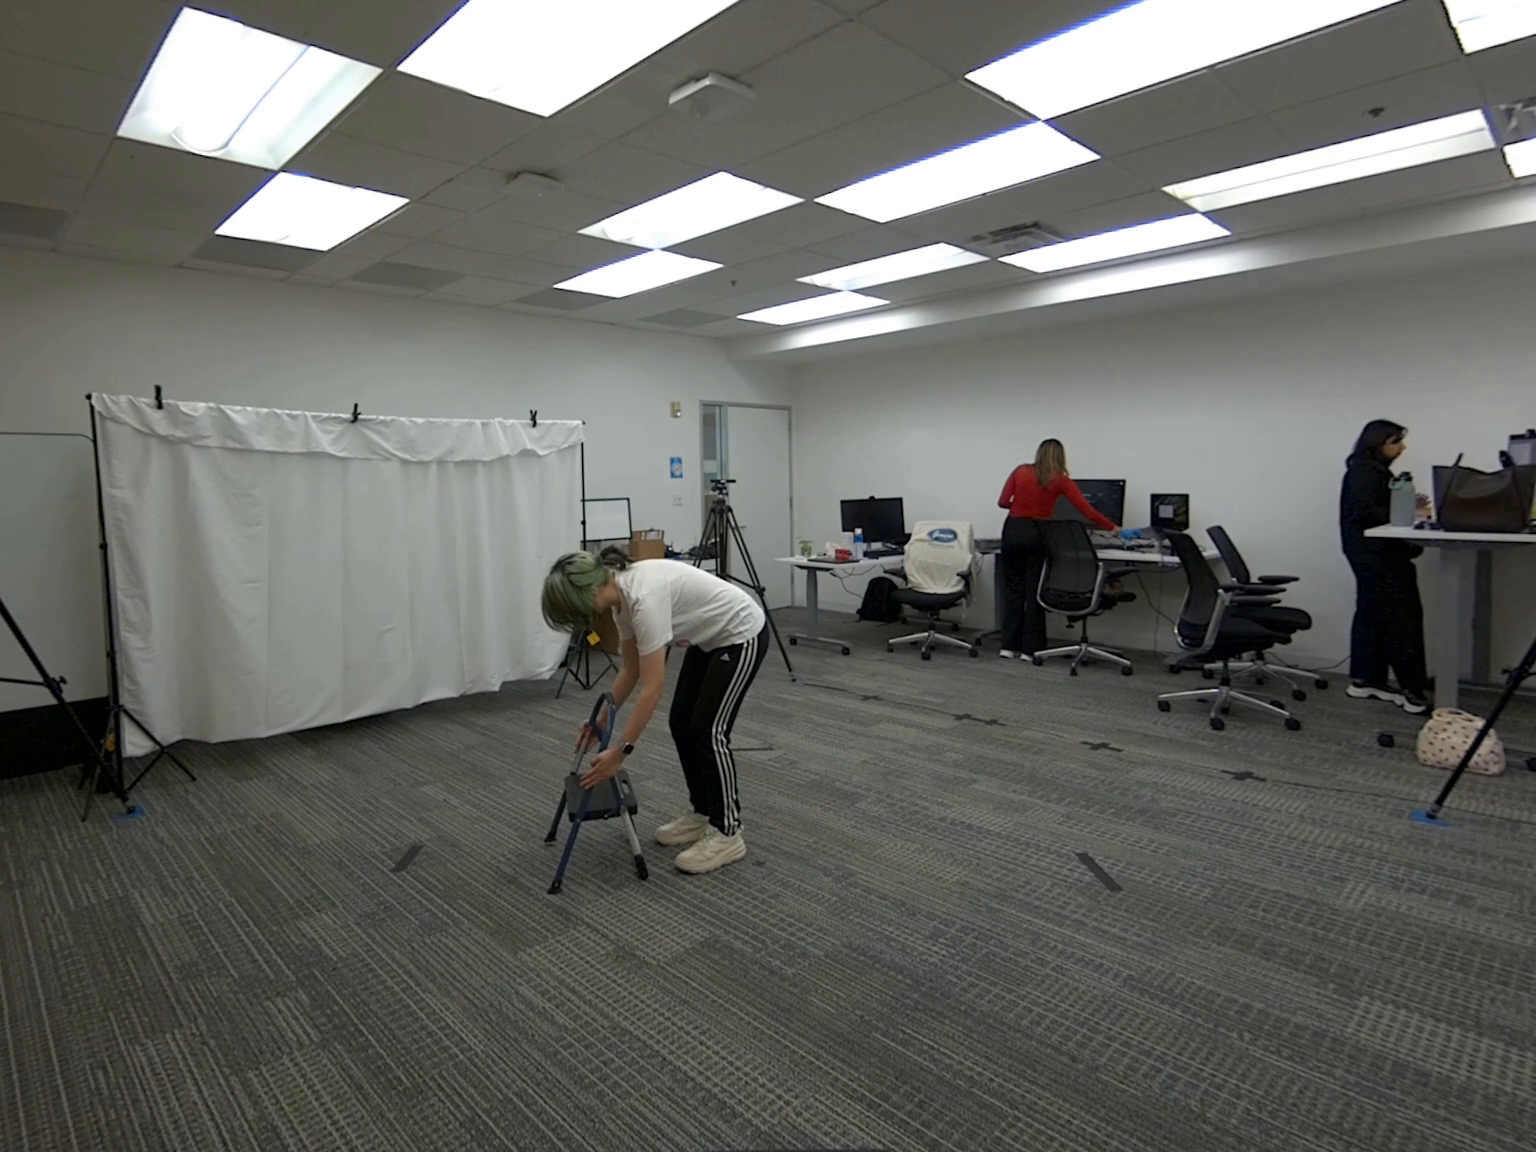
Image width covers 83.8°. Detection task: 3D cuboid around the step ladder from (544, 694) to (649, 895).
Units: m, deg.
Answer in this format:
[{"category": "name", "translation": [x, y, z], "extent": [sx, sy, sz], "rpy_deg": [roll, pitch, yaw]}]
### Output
[{"category": "step ladder", "translation": [-0.642, 0.746, 3.120], "extent": [0.344, 0.603, 0.439], "rpy_deg": [-3, 7, -16]}]
